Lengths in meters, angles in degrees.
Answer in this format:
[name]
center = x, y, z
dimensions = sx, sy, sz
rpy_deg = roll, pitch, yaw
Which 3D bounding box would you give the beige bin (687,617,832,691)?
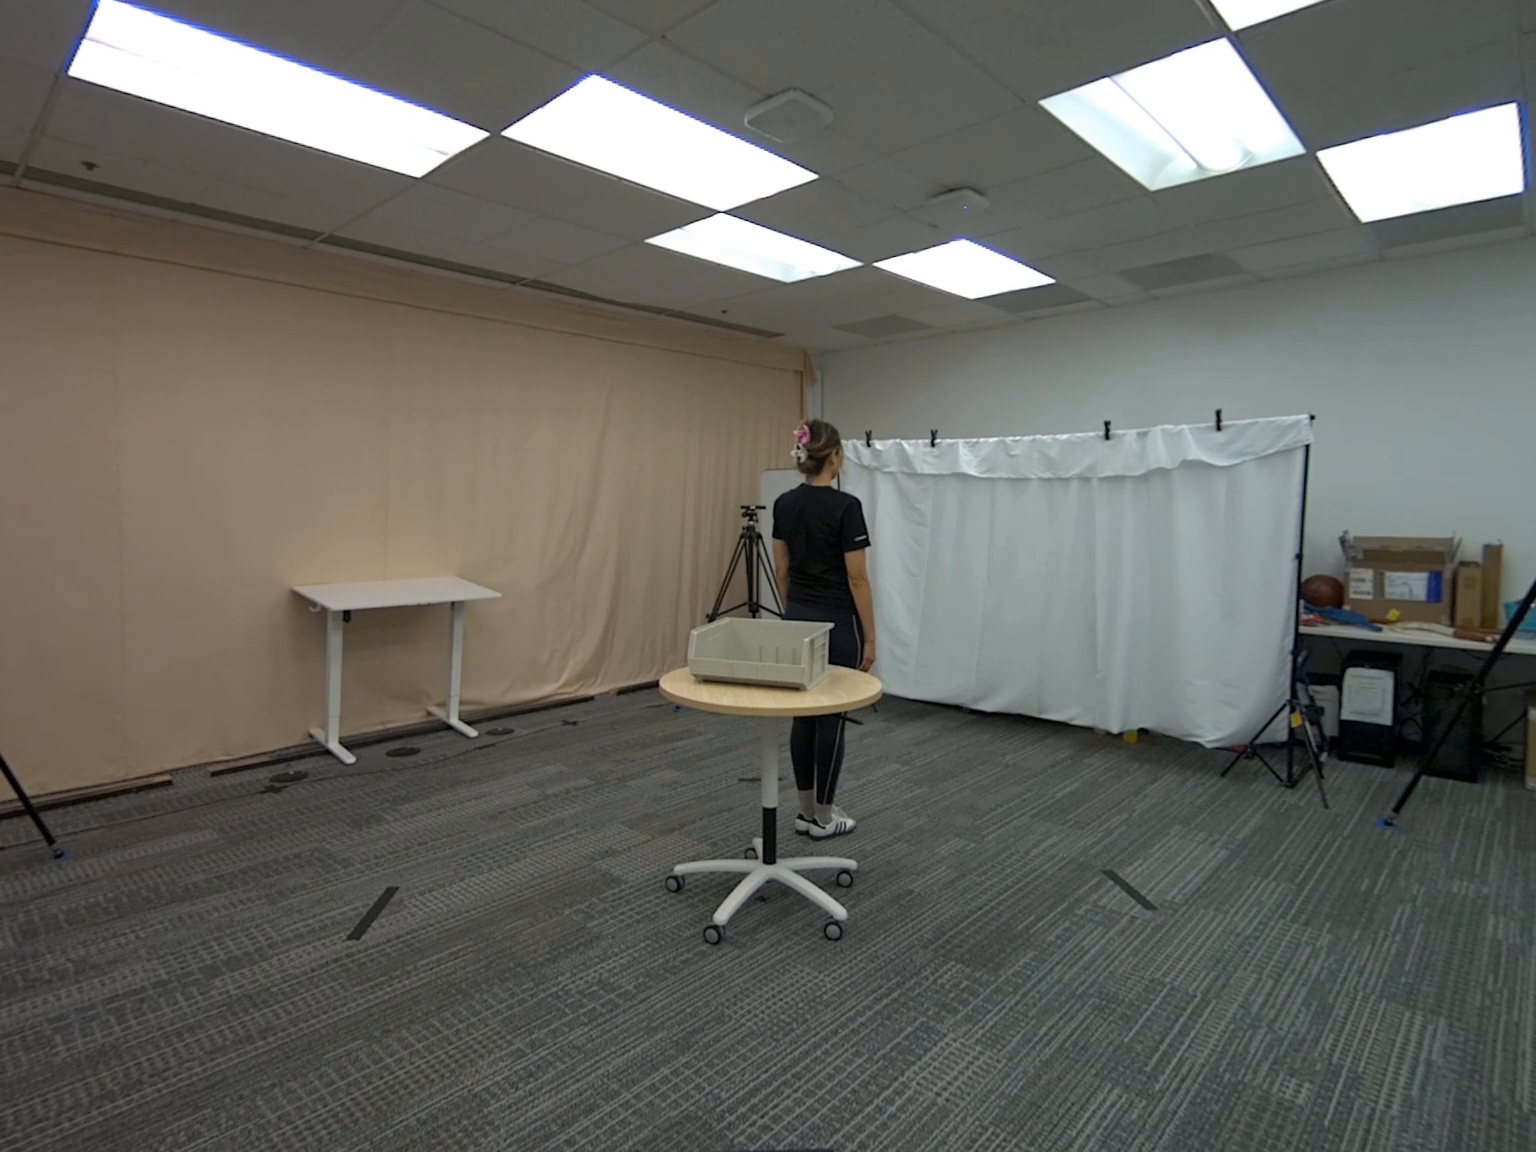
[beige bin]
center = -0.016, 0.271, 2.971
dimensions = 0.431, 0.188, 0.370
rpy_deg = 1, 4, 20
